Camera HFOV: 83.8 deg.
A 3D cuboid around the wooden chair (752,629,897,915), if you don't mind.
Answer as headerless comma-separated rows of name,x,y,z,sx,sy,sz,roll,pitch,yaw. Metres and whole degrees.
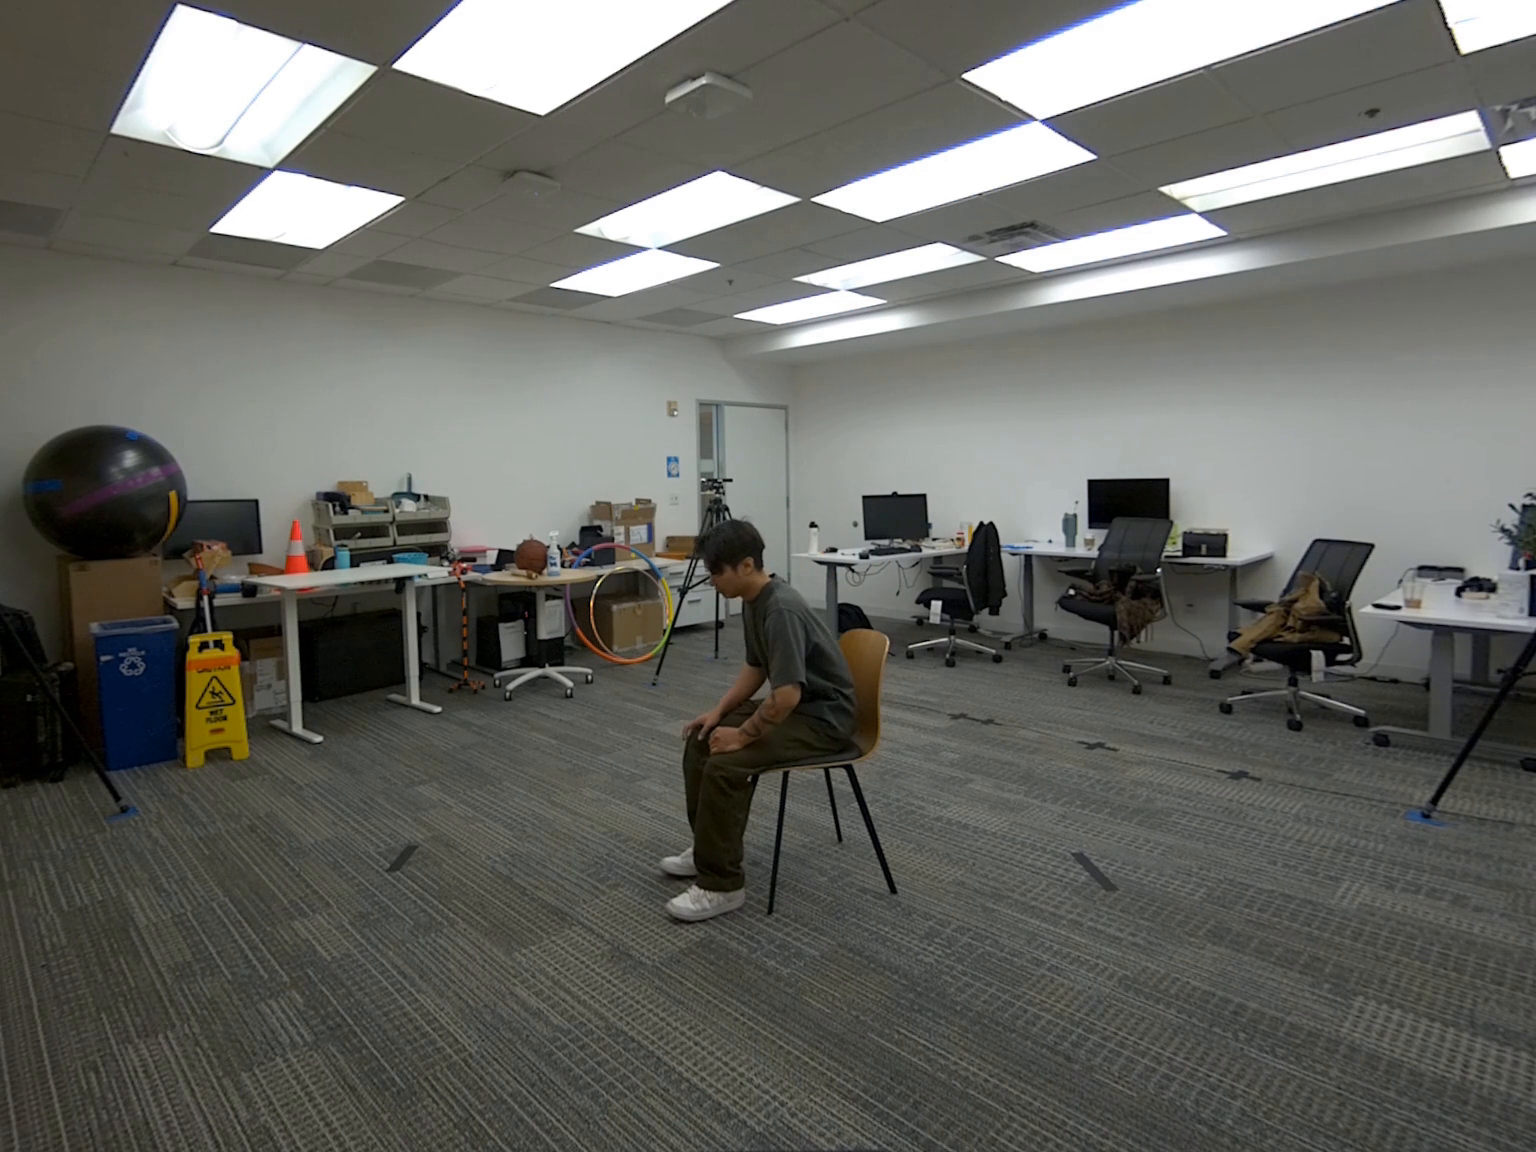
wooden chair,0.132,0.626,2.974,0.514,0.875,0.487,1,4,-18
